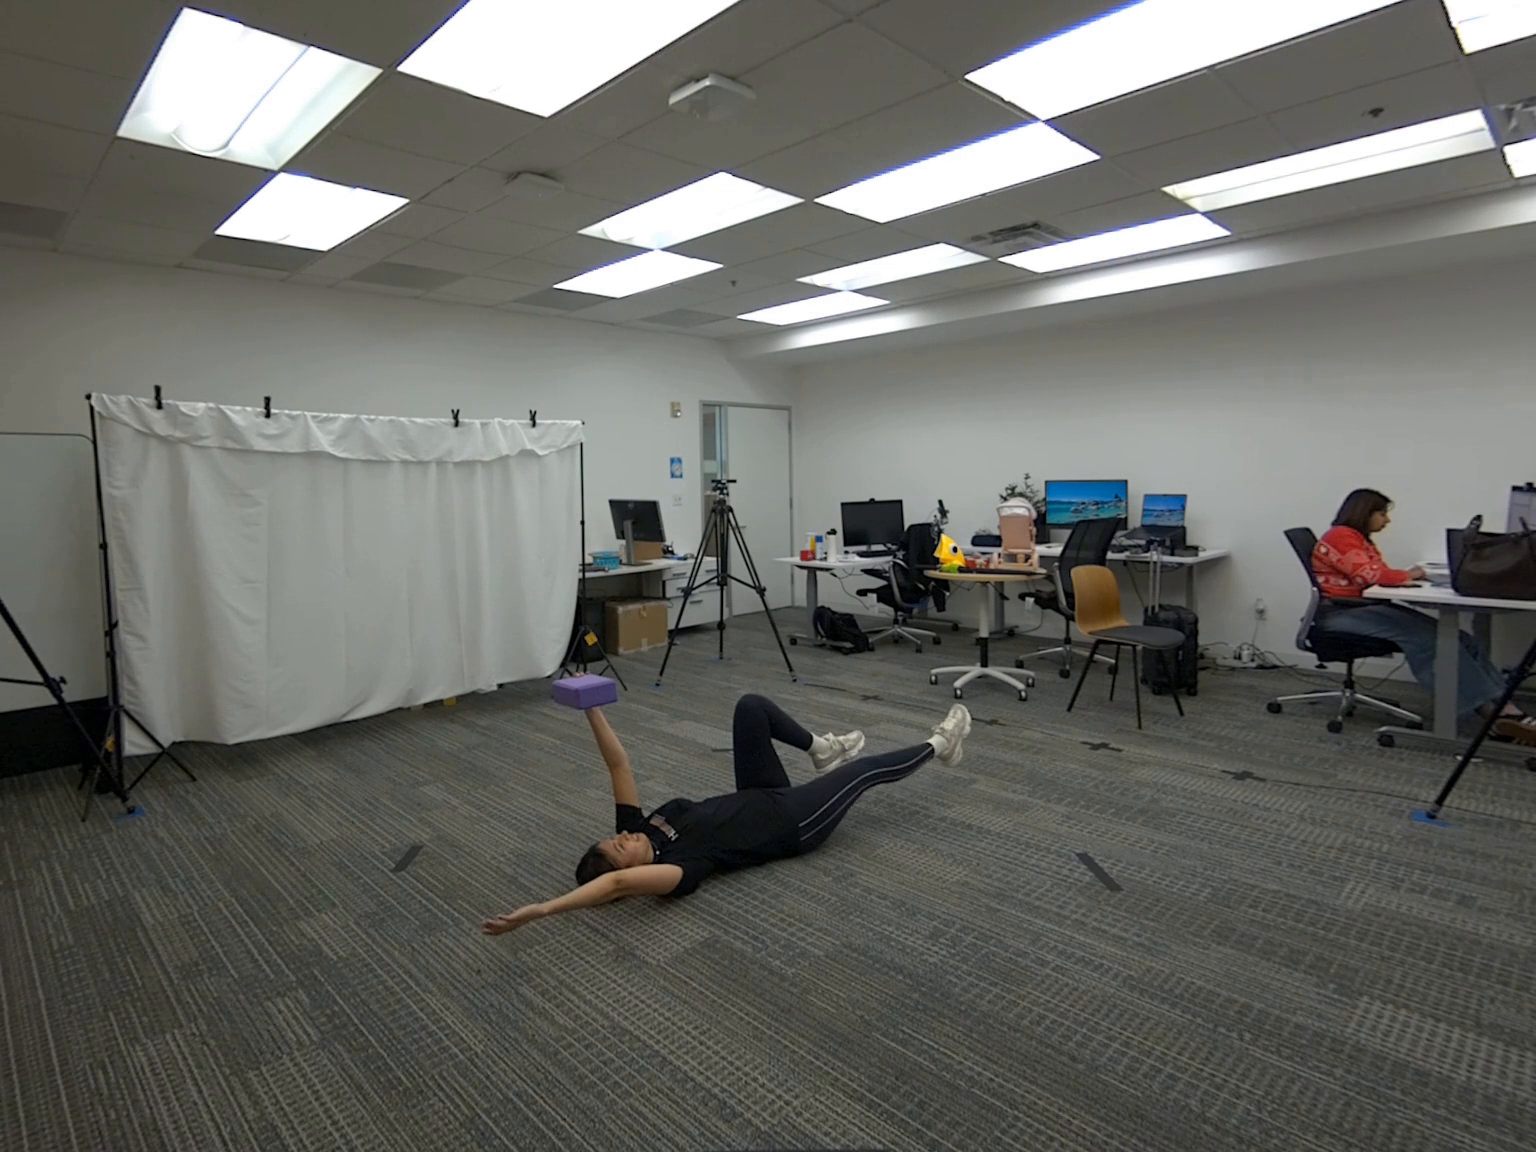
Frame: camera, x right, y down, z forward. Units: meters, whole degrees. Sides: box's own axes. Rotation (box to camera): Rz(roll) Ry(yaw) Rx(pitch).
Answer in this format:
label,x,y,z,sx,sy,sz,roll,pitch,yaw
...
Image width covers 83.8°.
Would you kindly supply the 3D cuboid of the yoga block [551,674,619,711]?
label,x,y,z,sx,sy,sz,roll,pitch,yaw
yoga block,-0.637,0.398,2.899,0.146,0.076,0.235,-8,4,-29
